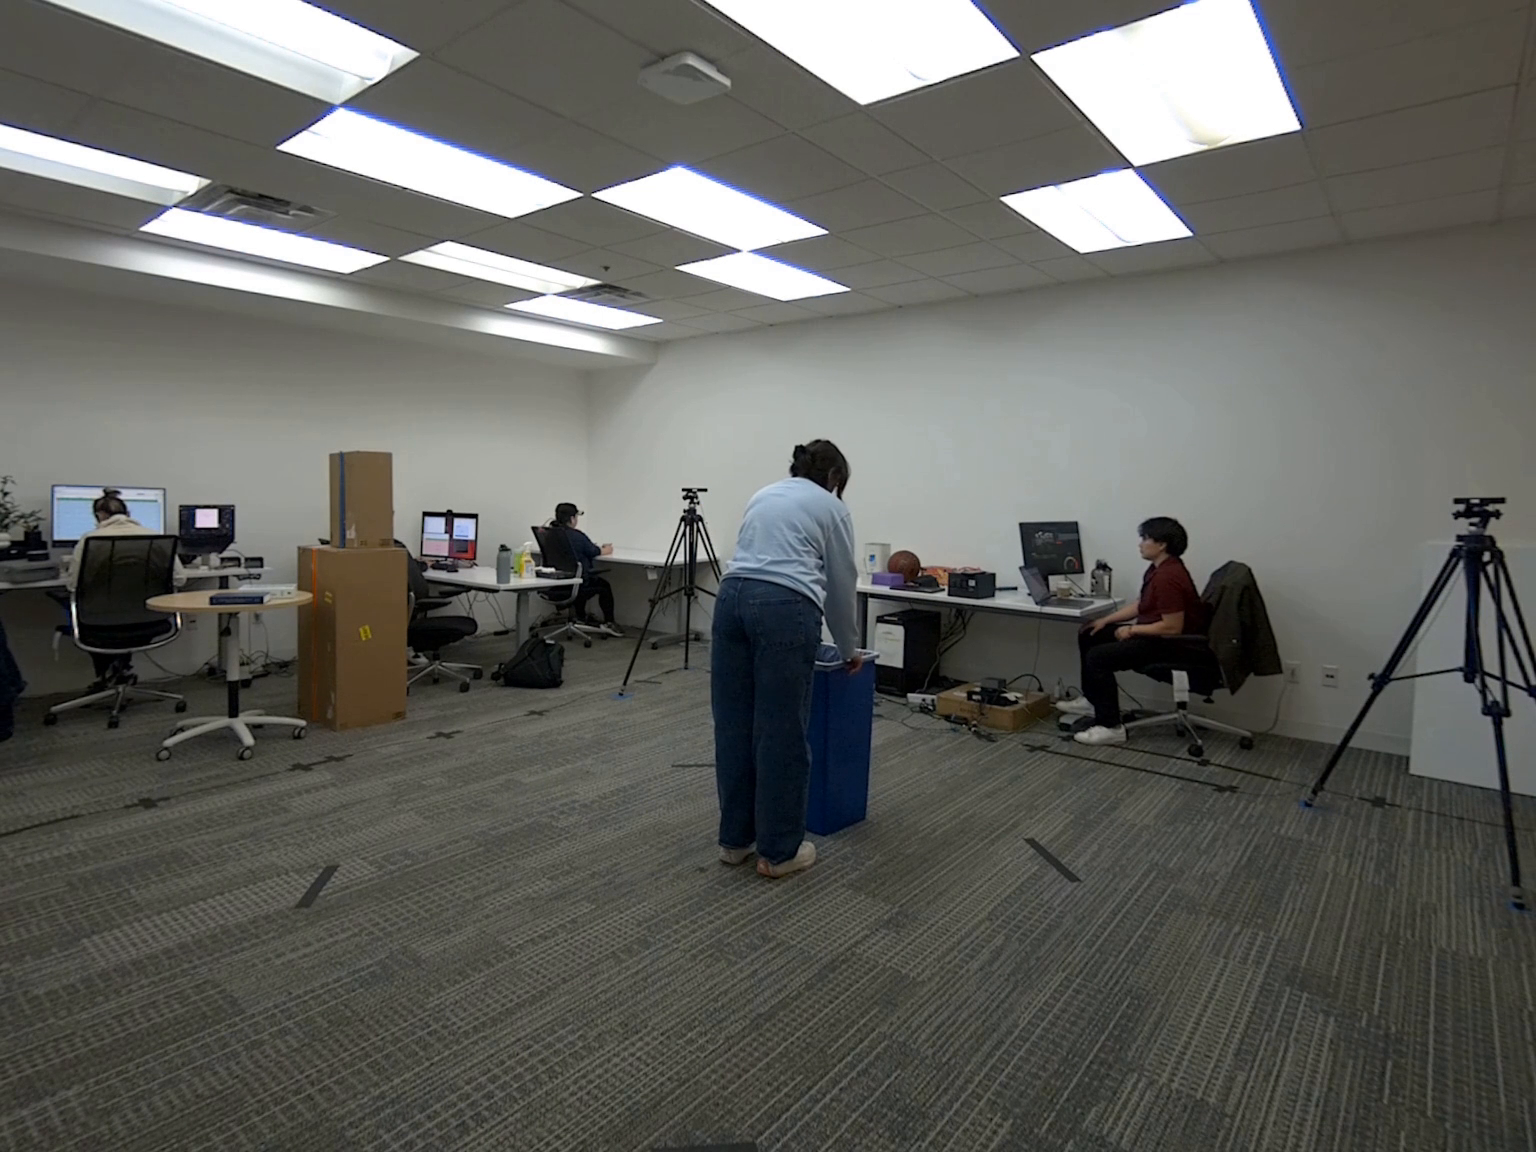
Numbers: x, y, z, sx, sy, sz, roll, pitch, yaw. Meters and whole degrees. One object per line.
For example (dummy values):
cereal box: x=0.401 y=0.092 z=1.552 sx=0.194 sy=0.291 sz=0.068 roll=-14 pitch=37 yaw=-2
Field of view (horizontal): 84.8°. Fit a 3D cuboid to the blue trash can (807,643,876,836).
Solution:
blue trash can: x=0.211 y=0.672 z=3.609 sx=0.391 sy=0.712 sz=0.362 roll=4 pitch=4 yaw=42
